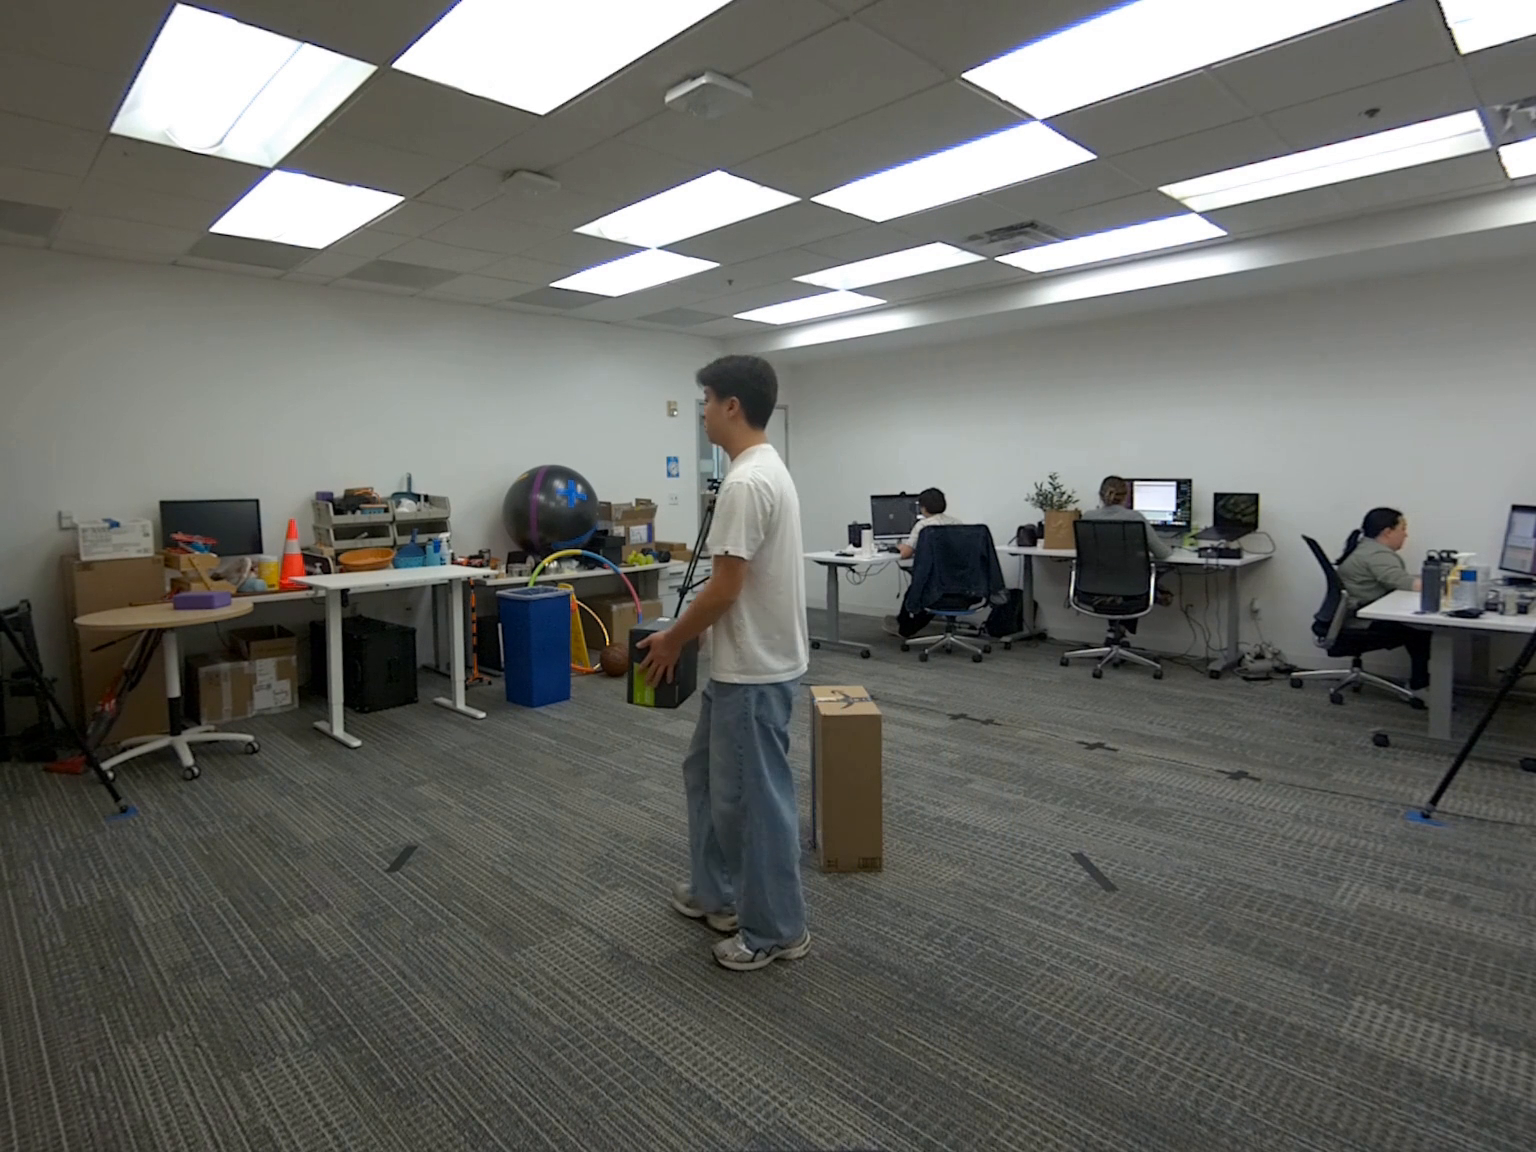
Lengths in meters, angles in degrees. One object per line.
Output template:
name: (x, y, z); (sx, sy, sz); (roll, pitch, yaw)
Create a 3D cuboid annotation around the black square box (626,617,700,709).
black square box: (-0.320, 0.268, 2.605); (0.158, 0.227, 0.215); (7, 7, 14)
